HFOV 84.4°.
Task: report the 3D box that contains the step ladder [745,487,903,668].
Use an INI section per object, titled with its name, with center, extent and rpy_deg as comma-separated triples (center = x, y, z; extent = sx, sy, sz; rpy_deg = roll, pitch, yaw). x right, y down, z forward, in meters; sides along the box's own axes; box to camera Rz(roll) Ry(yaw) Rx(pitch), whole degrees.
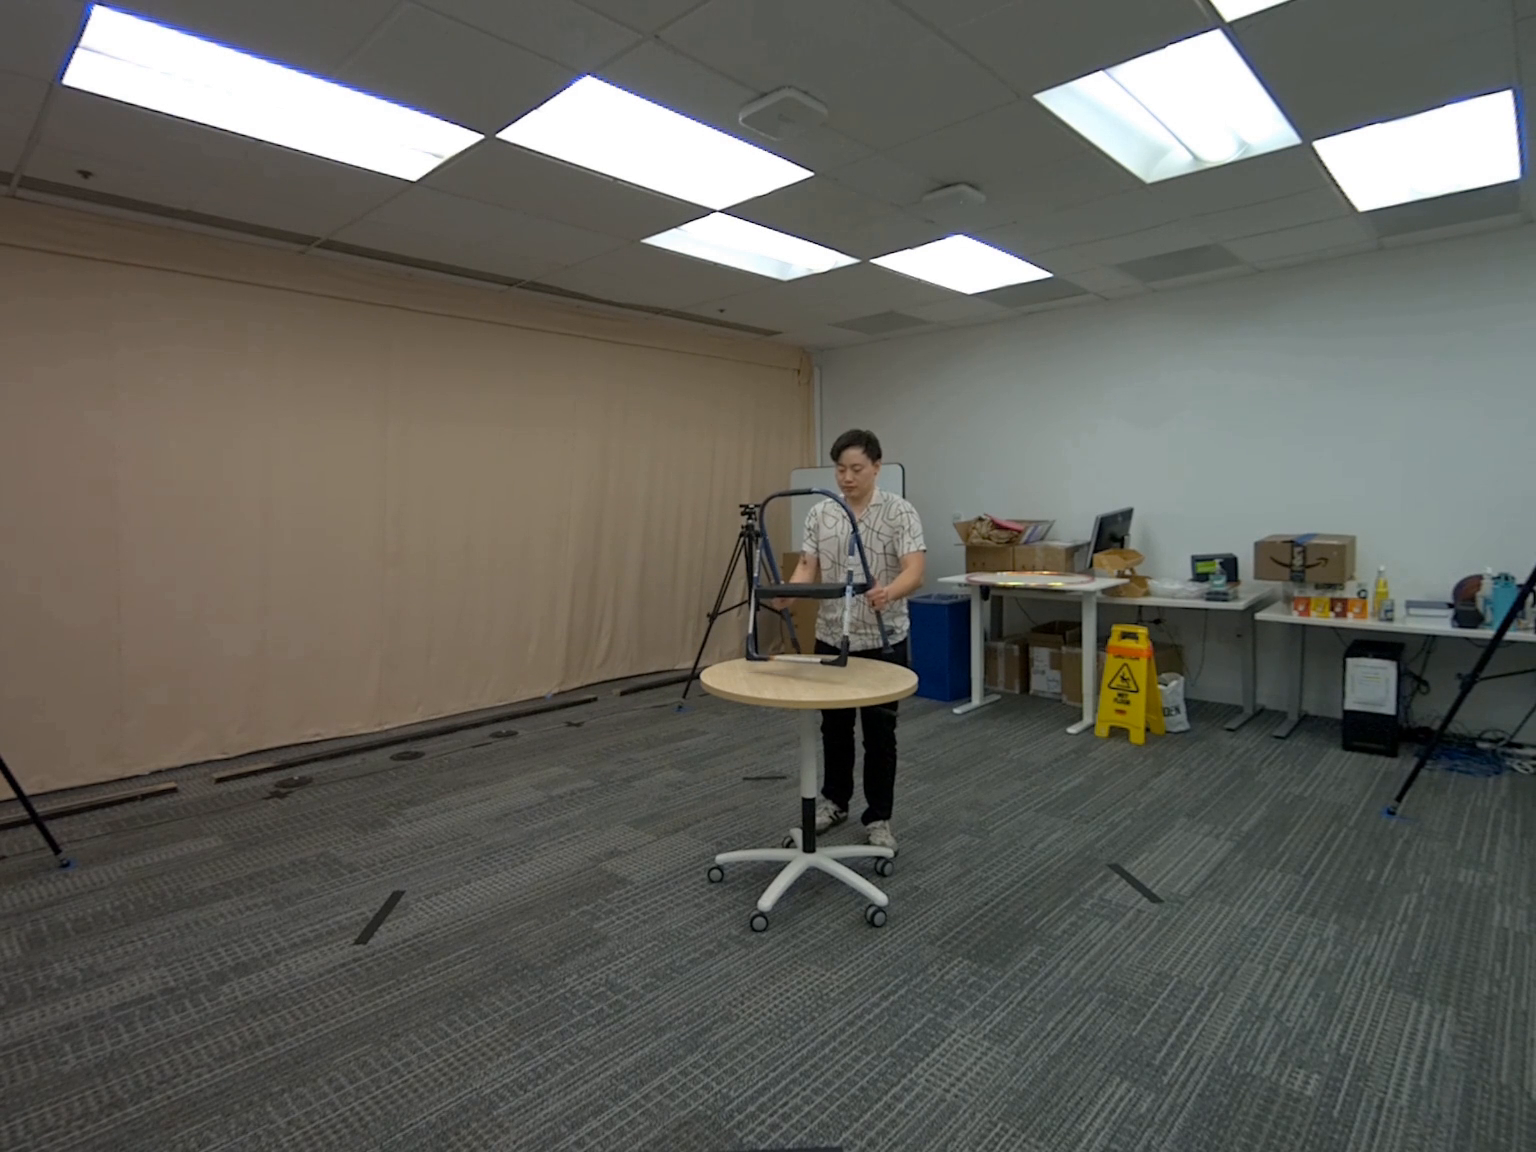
[step ladder]
center = 0.163, -0.014, 3.045
extent = 0.444, 0.605, 0.339
rpy_deg = -2, 3, 36
